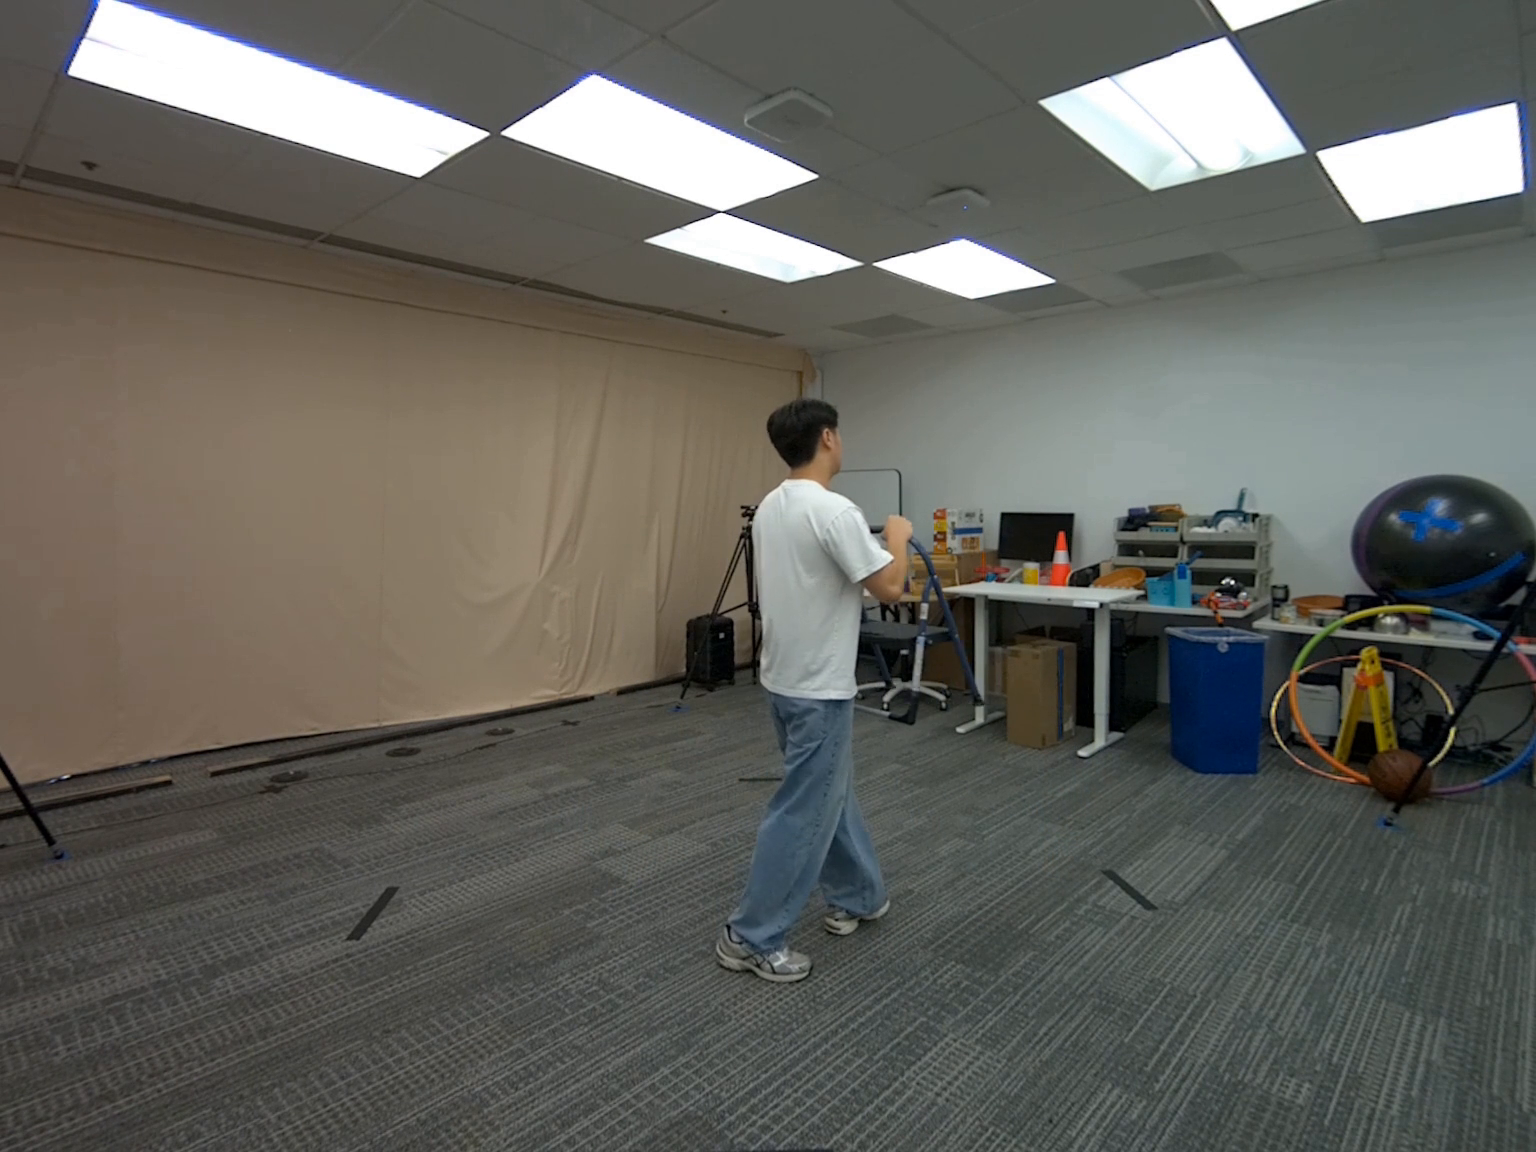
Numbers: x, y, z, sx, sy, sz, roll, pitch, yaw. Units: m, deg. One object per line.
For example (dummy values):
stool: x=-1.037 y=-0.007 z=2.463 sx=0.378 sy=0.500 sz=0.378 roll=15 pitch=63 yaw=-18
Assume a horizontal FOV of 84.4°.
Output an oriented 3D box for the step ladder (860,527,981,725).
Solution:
step ladder: x=0.435 y=0.130 z=2.808 sx=0.339 sy=0.605 sz=0.443 roll=-7 pitch=4 yaw=-35
